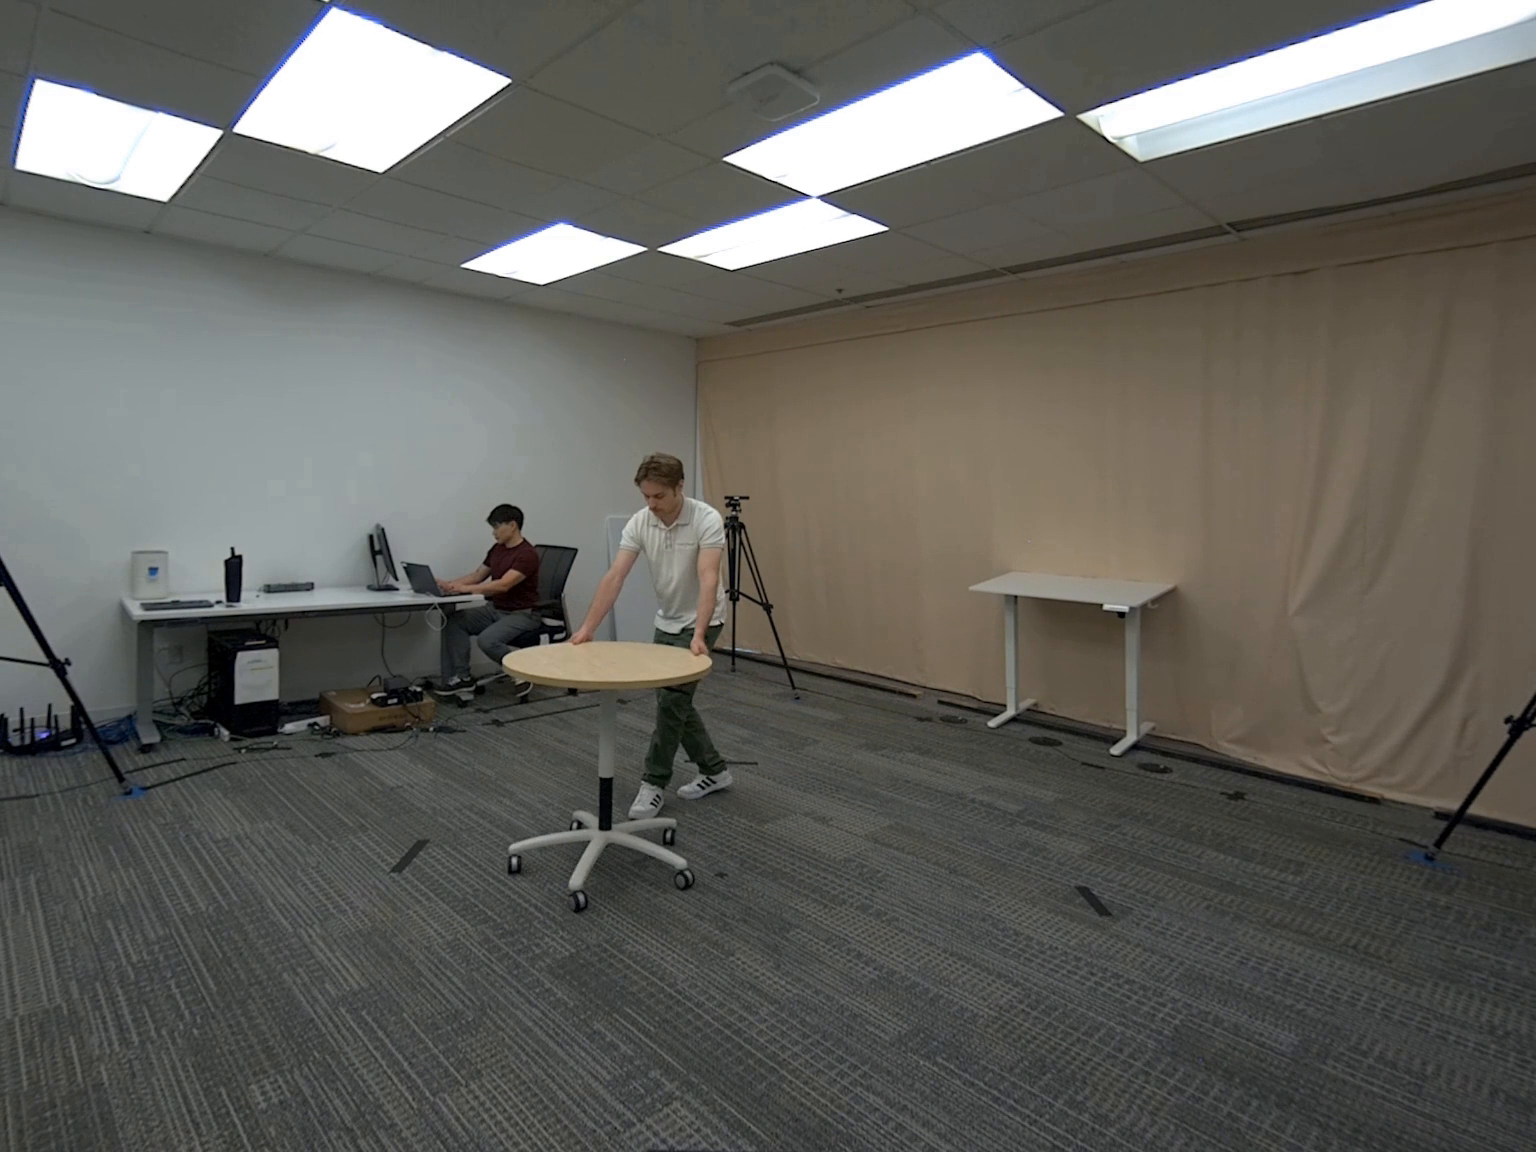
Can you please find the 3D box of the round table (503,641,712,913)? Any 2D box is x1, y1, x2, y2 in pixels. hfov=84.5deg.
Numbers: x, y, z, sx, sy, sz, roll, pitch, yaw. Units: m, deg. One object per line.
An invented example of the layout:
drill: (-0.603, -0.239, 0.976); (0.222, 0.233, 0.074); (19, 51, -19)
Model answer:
round table: (-0.609, 0.697, 3.149); (0.784, 0.784, 0.788); (2, 4, -1)
